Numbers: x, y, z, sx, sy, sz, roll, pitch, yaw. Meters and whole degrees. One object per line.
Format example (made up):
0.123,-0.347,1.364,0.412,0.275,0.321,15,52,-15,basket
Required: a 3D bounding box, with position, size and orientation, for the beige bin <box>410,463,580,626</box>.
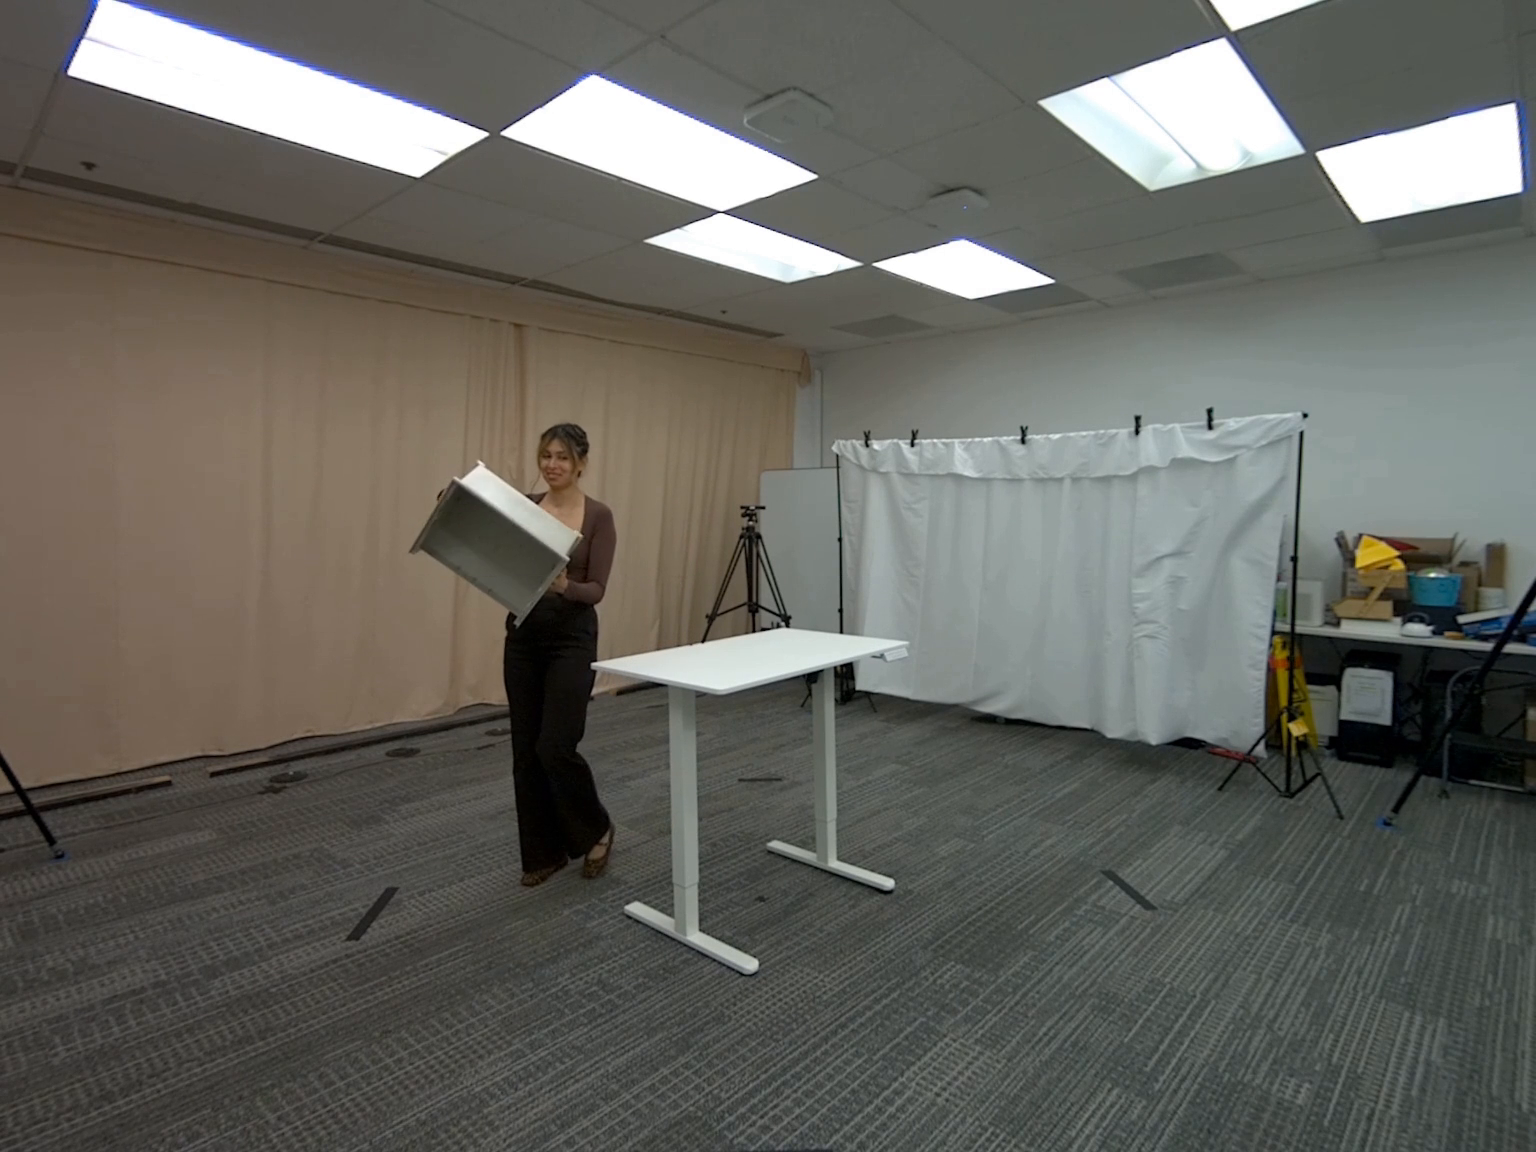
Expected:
-0.873,-0.089,2.707,0.418,0.379,0.190,37,28,-9,beige bin
